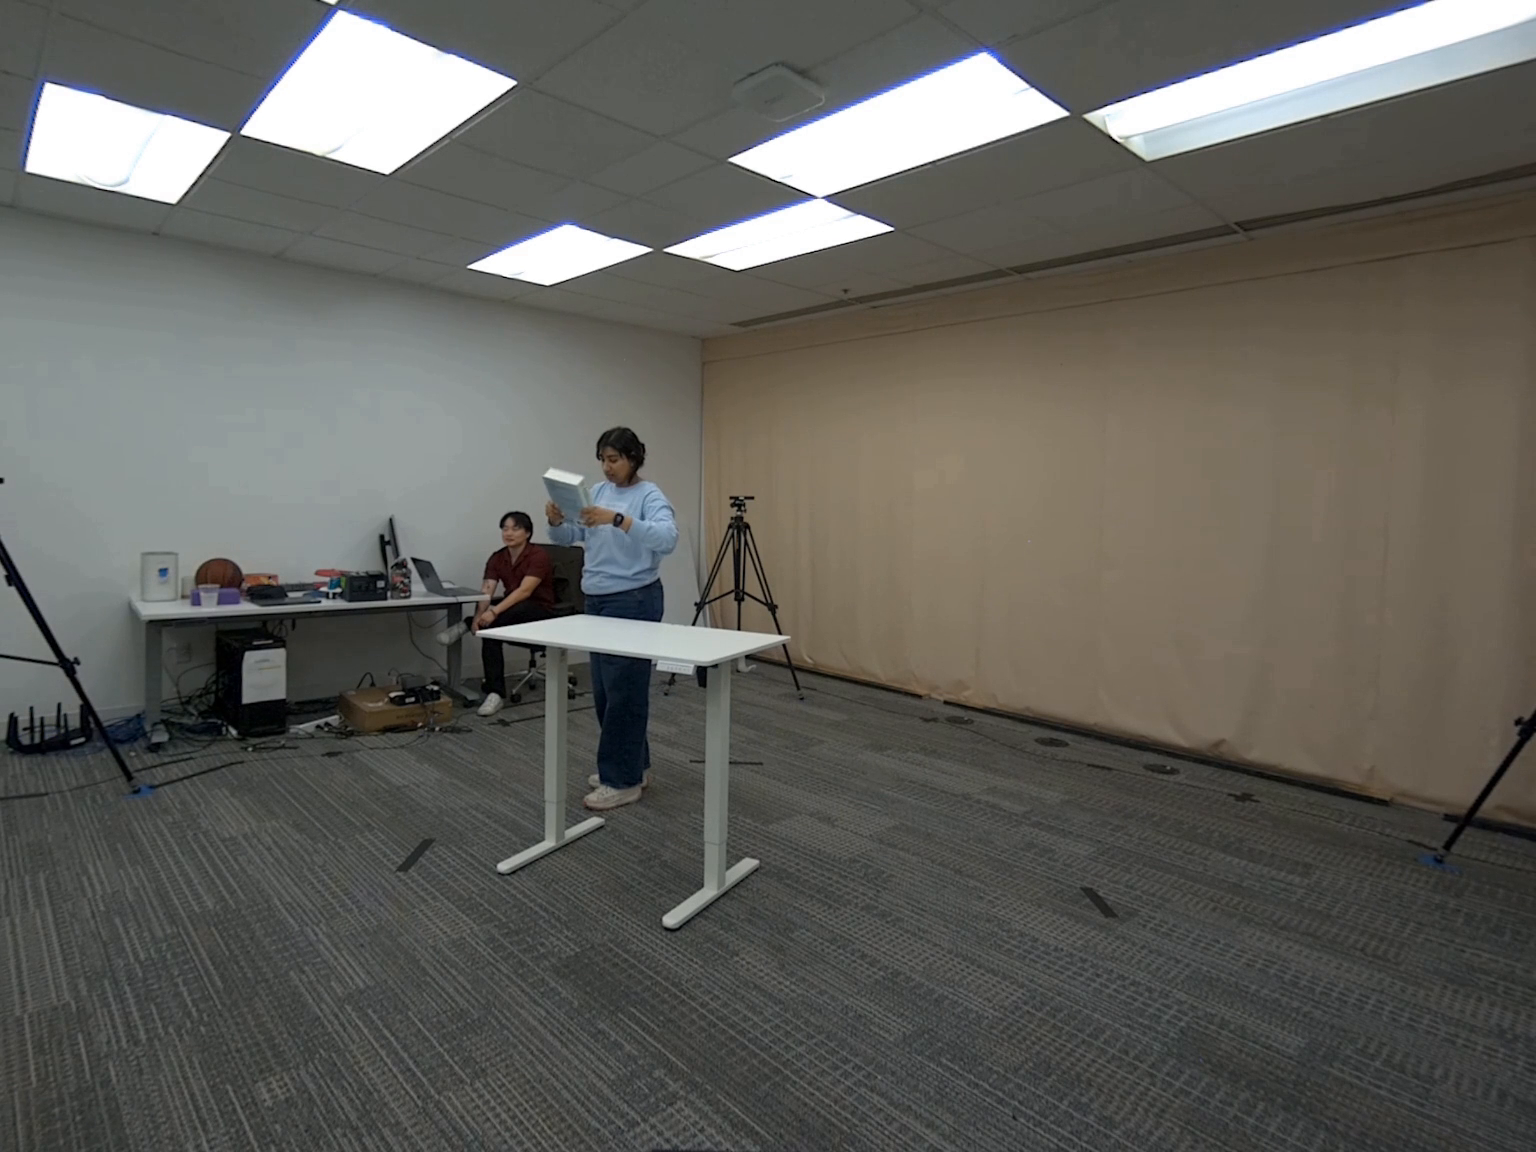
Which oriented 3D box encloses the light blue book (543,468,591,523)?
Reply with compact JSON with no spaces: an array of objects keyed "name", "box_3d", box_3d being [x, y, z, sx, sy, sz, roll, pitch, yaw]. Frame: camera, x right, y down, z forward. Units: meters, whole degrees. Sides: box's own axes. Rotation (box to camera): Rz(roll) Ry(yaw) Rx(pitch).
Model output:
[{"name":"light blue book","box_3d":[-0.831,-0.321,3.508,0.196,0.254,0.059,16,51,27]}]
